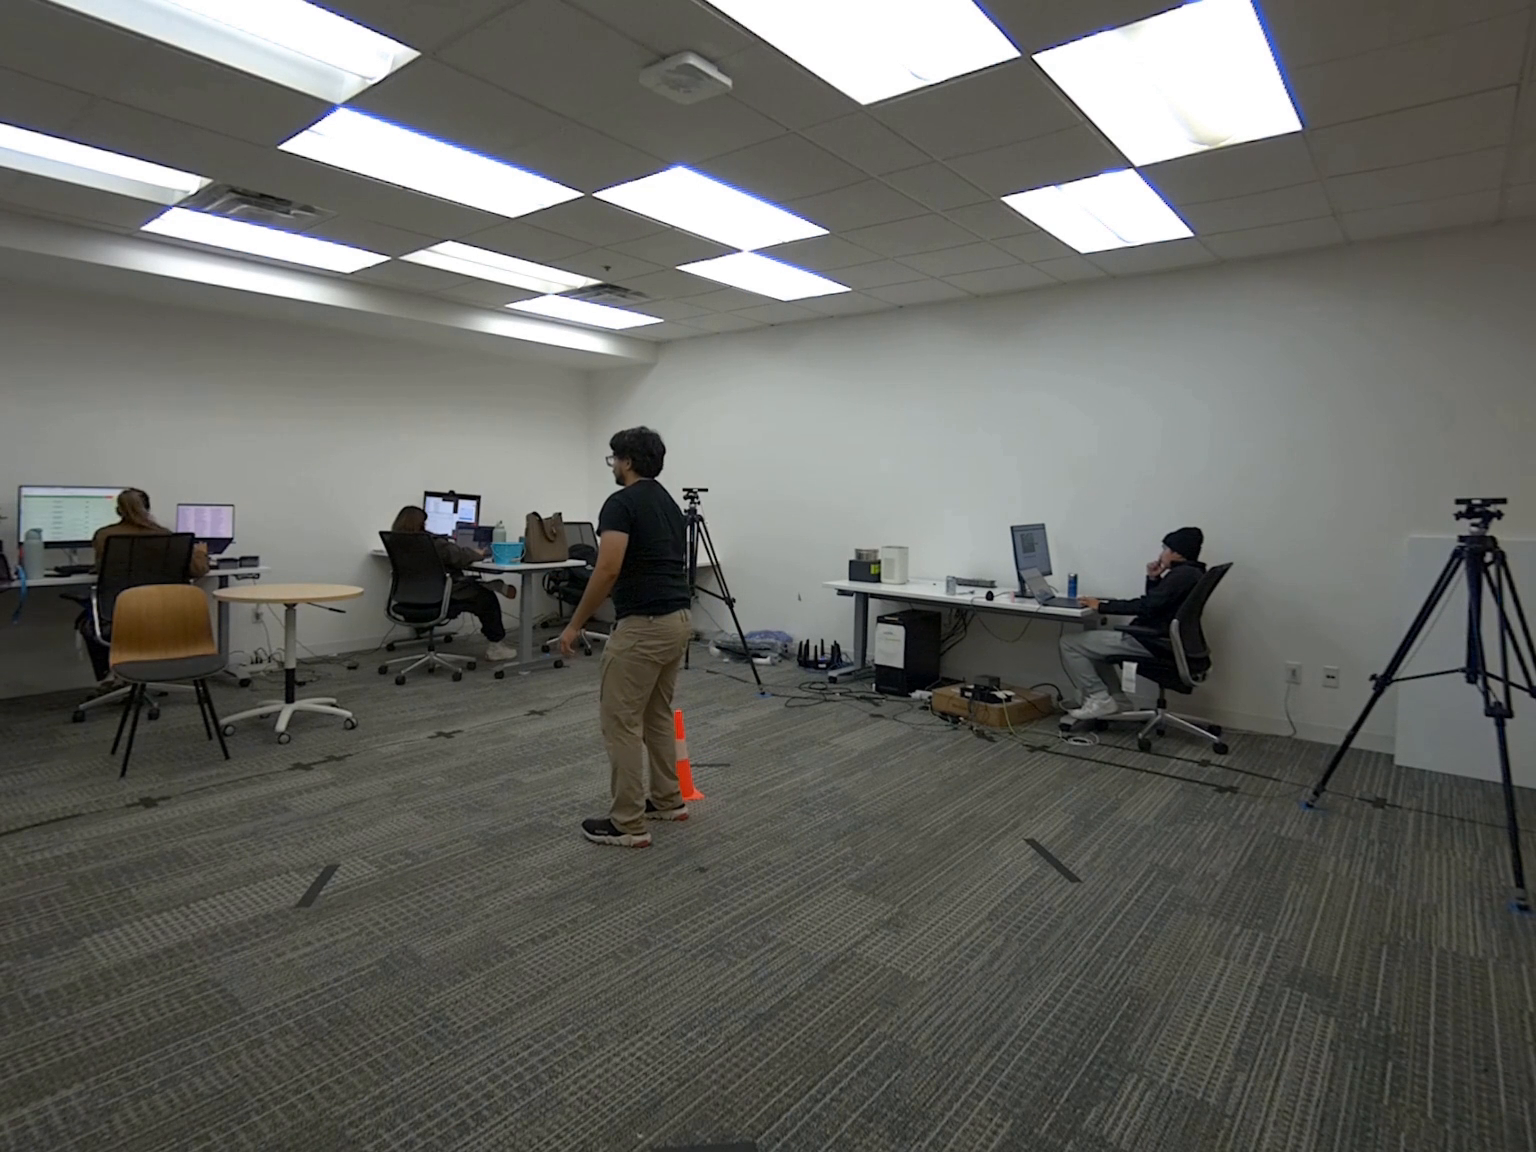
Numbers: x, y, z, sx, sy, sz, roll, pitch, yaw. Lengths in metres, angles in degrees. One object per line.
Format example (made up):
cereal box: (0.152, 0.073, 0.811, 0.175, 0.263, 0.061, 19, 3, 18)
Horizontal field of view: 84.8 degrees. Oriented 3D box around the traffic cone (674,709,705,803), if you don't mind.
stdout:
traffic cone: (-0.423, 0.807, 3.891, 0.199, 0.383, 0.210, 0, 4, -31)
